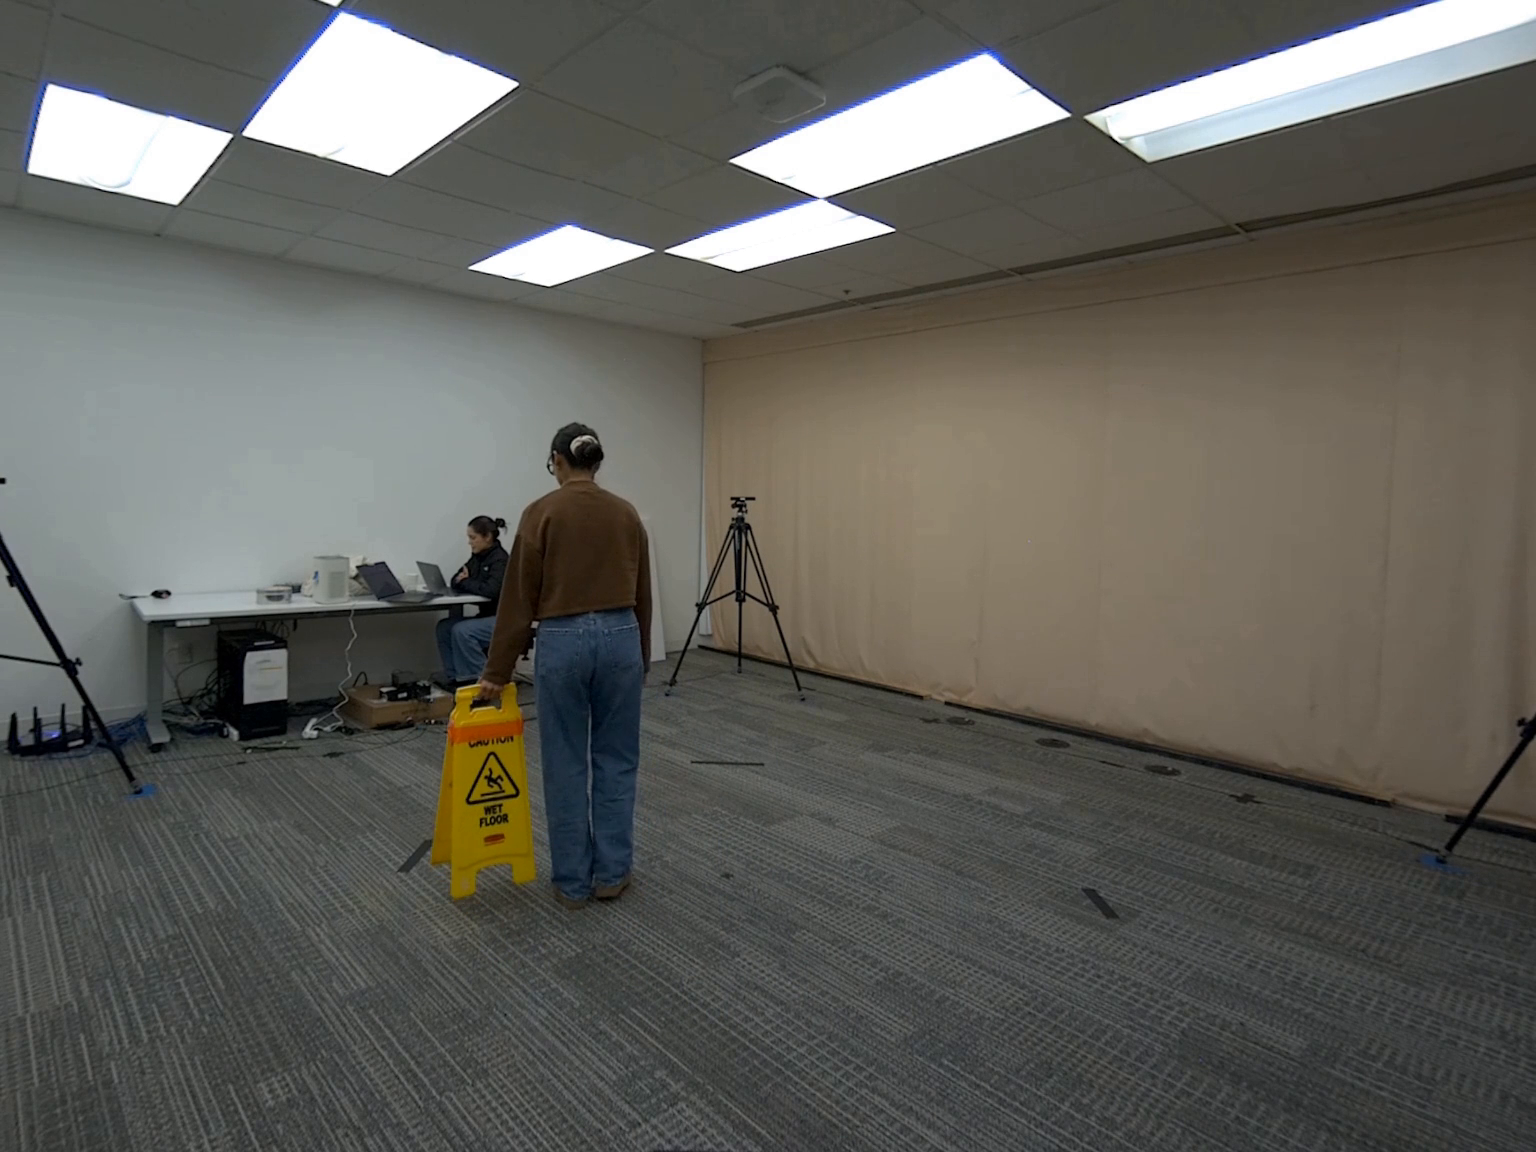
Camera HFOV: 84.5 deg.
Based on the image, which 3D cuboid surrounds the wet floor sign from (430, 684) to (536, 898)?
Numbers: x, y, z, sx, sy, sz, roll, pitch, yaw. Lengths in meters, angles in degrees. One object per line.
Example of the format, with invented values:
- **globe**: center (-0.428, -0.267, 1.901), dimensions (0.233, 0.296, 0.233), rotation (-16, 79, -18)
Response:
- **wet floor sign**: center (-0.955, 0.686, 2.828), dimensions (0.276, 0.643, 0.297), rotation (-1, 7, -35)
